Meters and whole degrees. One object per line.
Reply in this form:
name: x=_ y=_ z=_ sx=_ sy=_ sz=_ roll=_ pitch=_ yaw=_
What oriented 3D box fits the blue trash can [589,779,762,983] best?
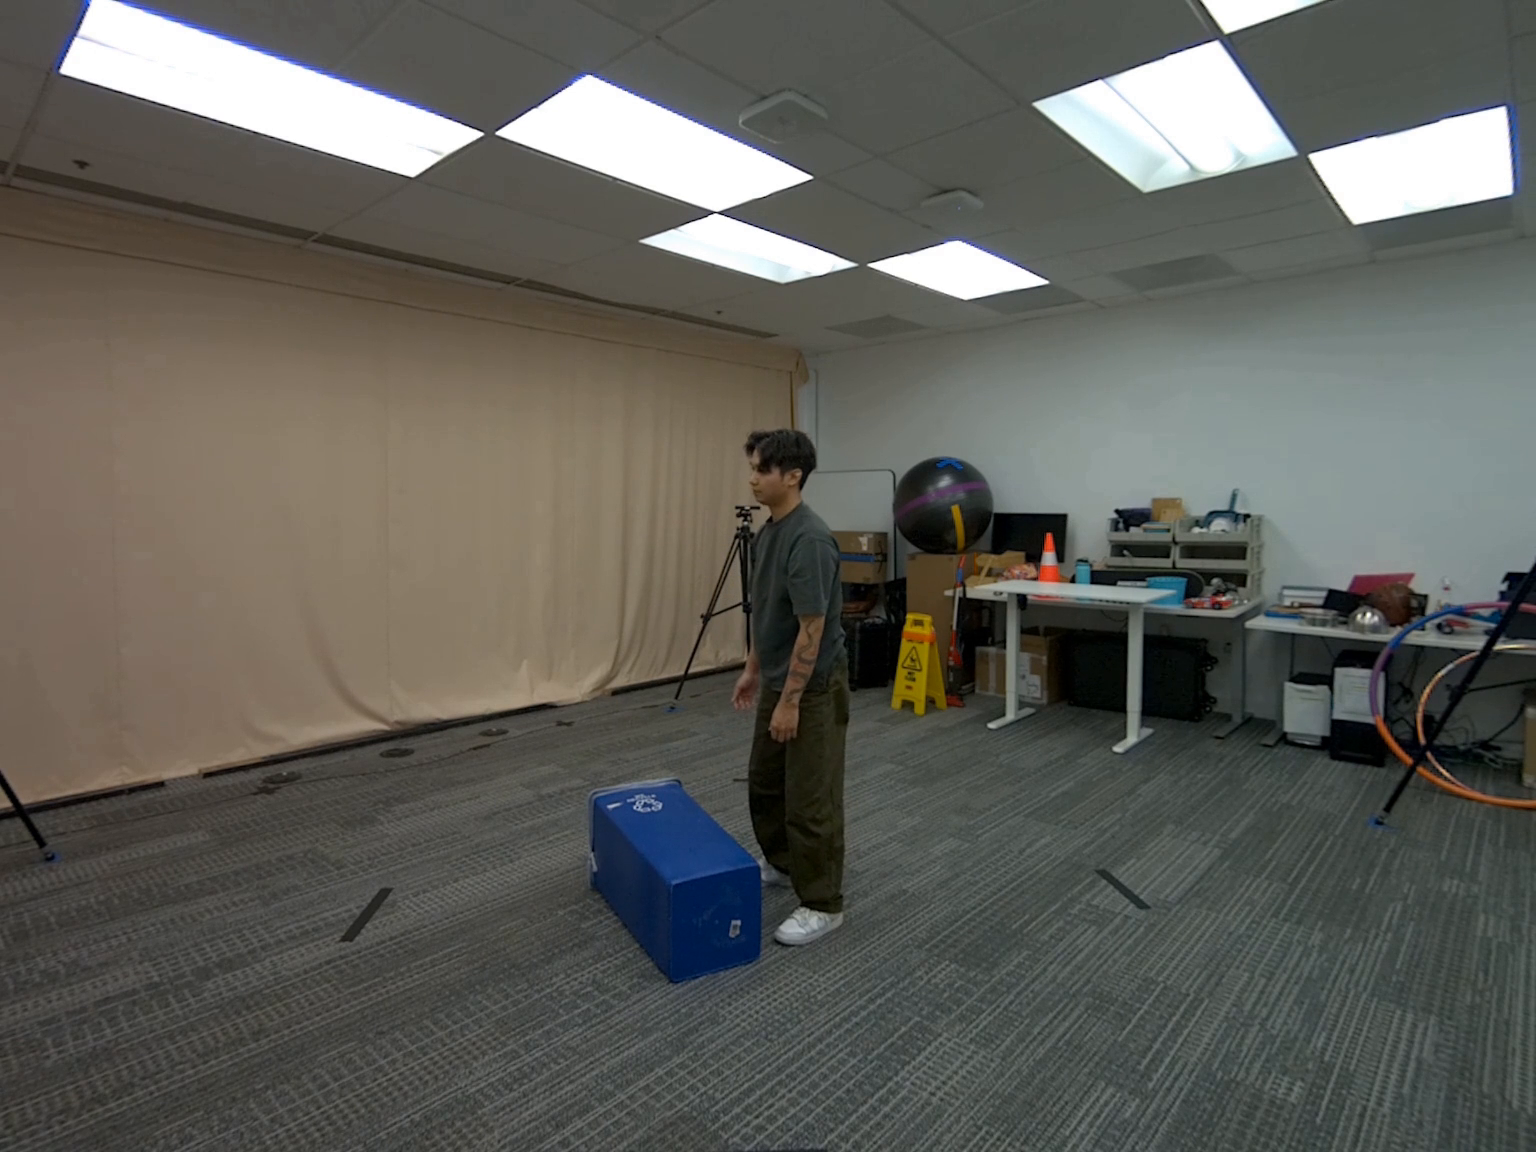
blue trash can: x=-0.325 y=0.993 z=2.816 sx=0.368 sy=0.373 sz=0.734 roll=-1 pitch=7 yaw=-27
